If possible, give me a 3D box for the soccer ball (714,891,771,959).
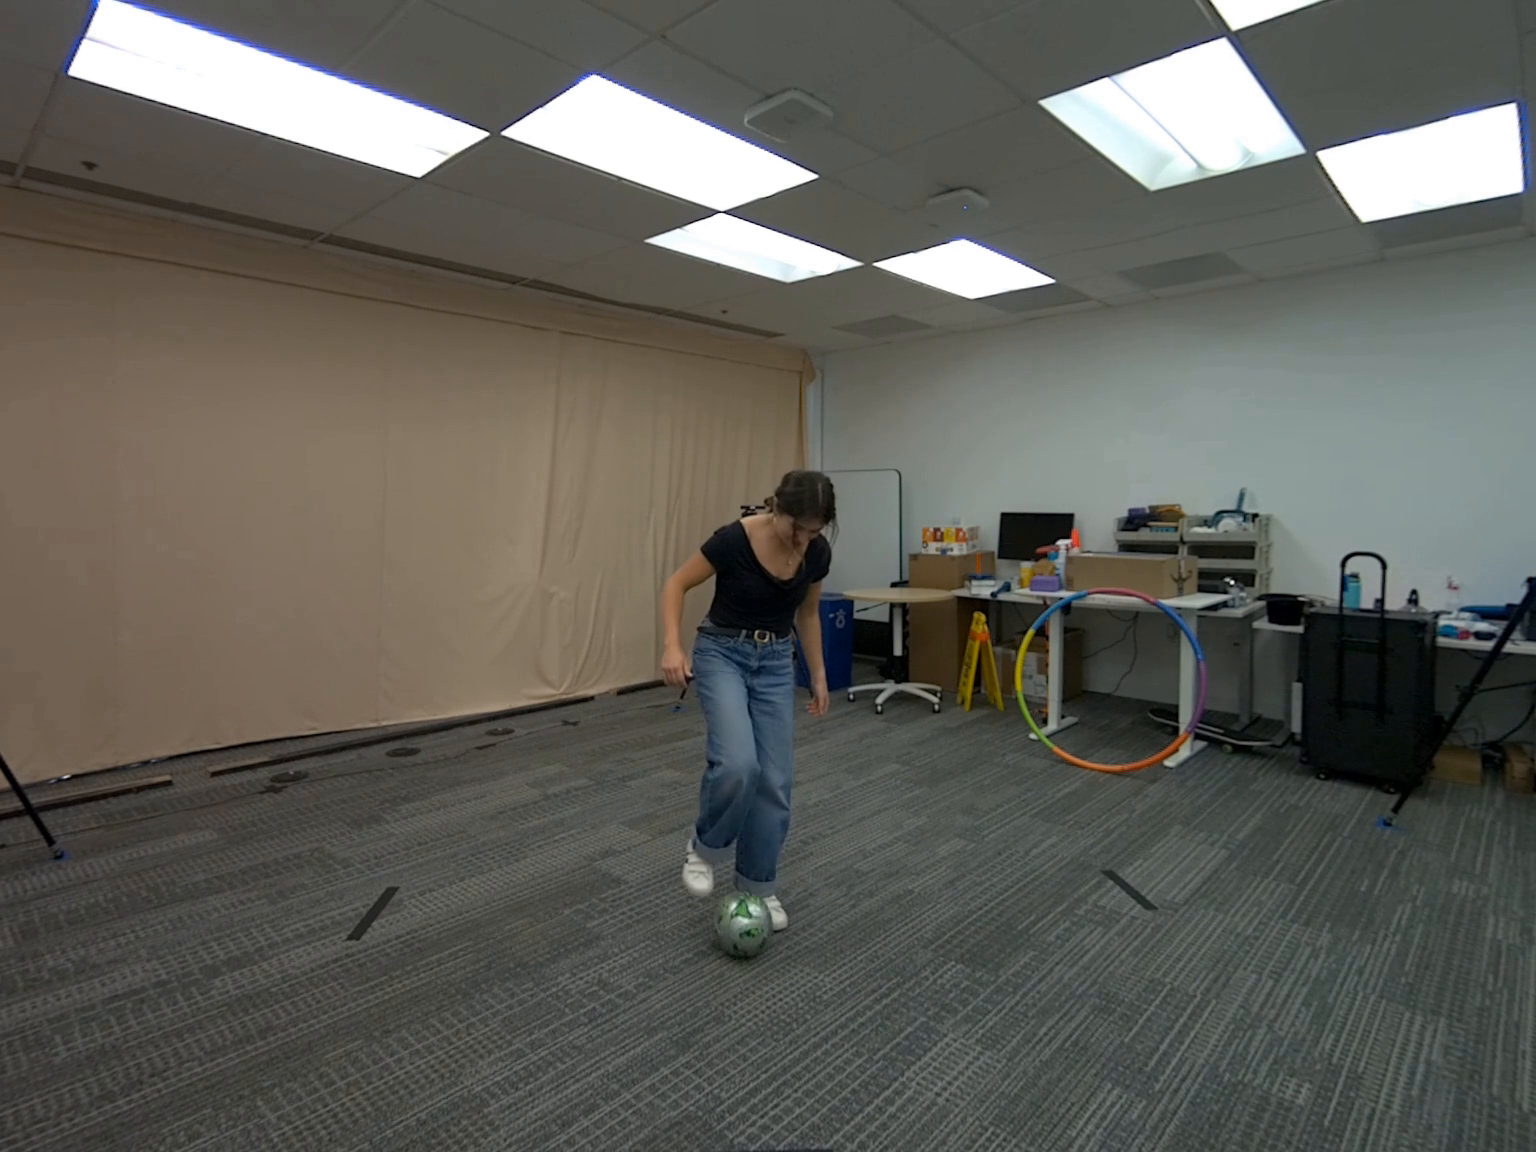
[{"bbox_3d":[-0.079,1.074,2.615,0.187,0.187,0.188,0,4,-2],"label":"soccer ball"}]
